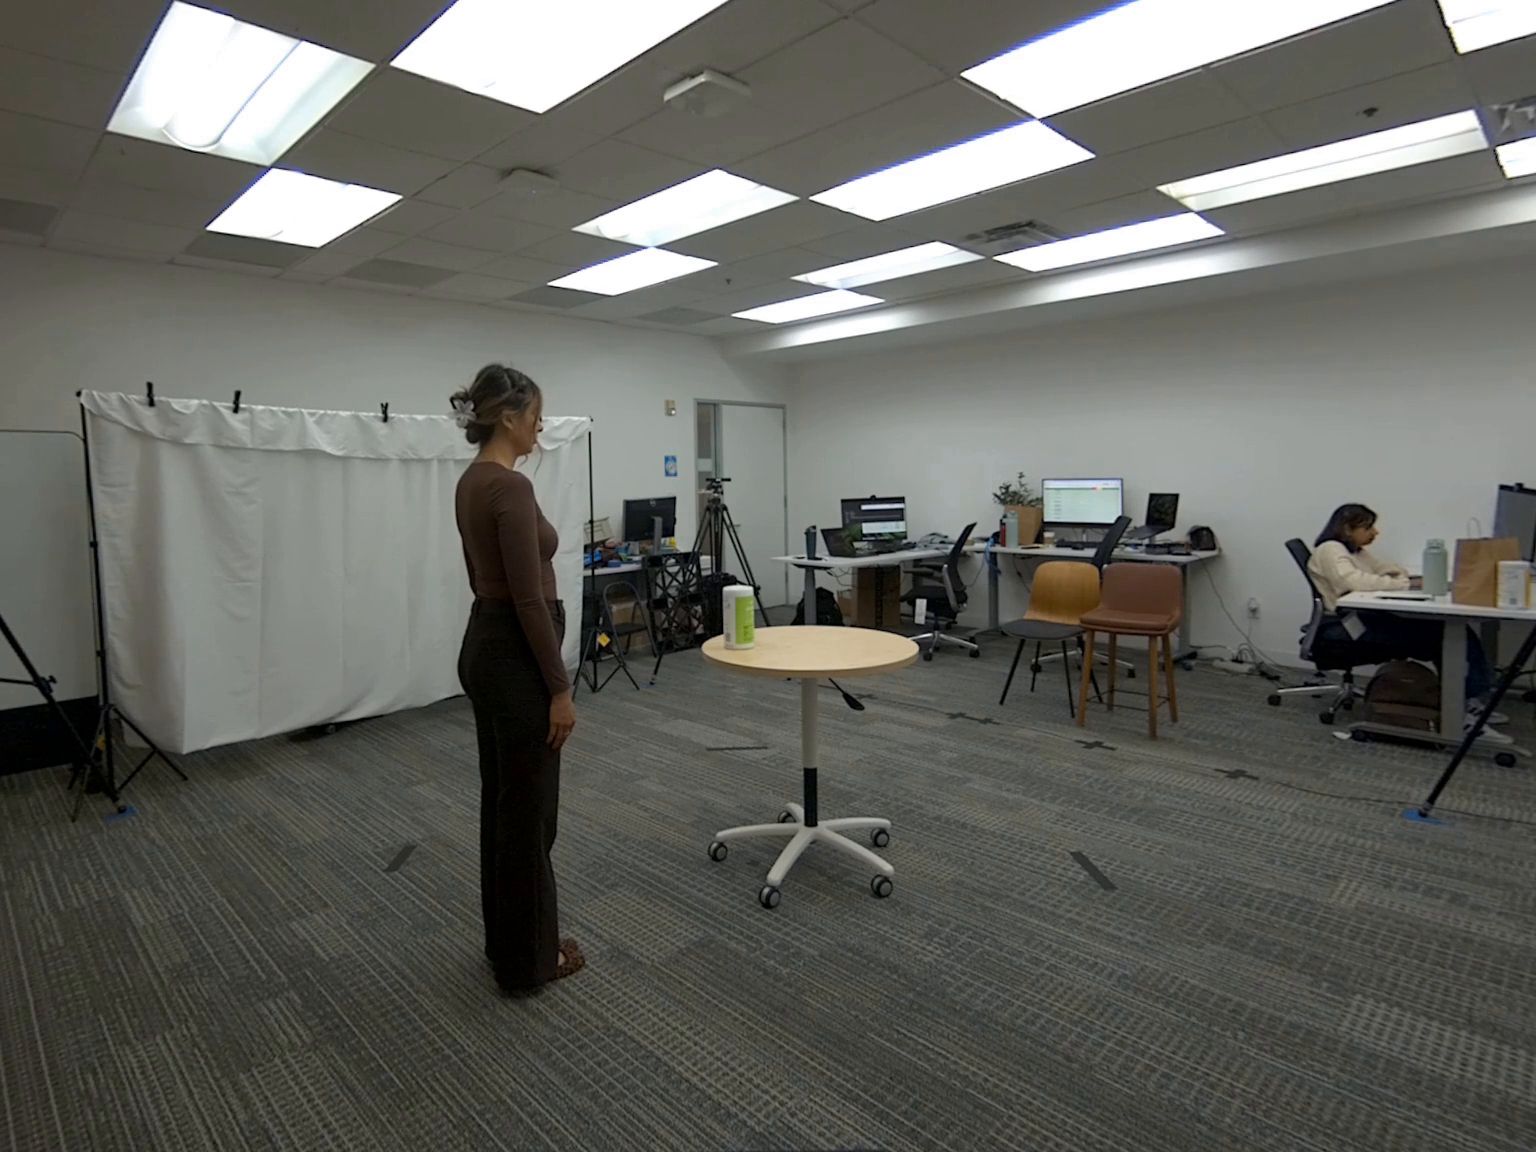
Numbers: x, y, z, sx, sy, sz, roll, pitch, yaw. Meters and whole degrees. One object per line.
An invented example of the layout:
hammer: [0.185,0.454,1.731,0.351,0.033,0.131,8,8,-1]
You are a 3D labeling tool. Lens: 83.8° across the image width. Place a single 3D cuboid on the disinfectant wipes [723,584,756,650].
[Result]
disinfectant wipes: [-0.106,0.148,3.040,0.118,0.217,0.118,-1,4,-2]
